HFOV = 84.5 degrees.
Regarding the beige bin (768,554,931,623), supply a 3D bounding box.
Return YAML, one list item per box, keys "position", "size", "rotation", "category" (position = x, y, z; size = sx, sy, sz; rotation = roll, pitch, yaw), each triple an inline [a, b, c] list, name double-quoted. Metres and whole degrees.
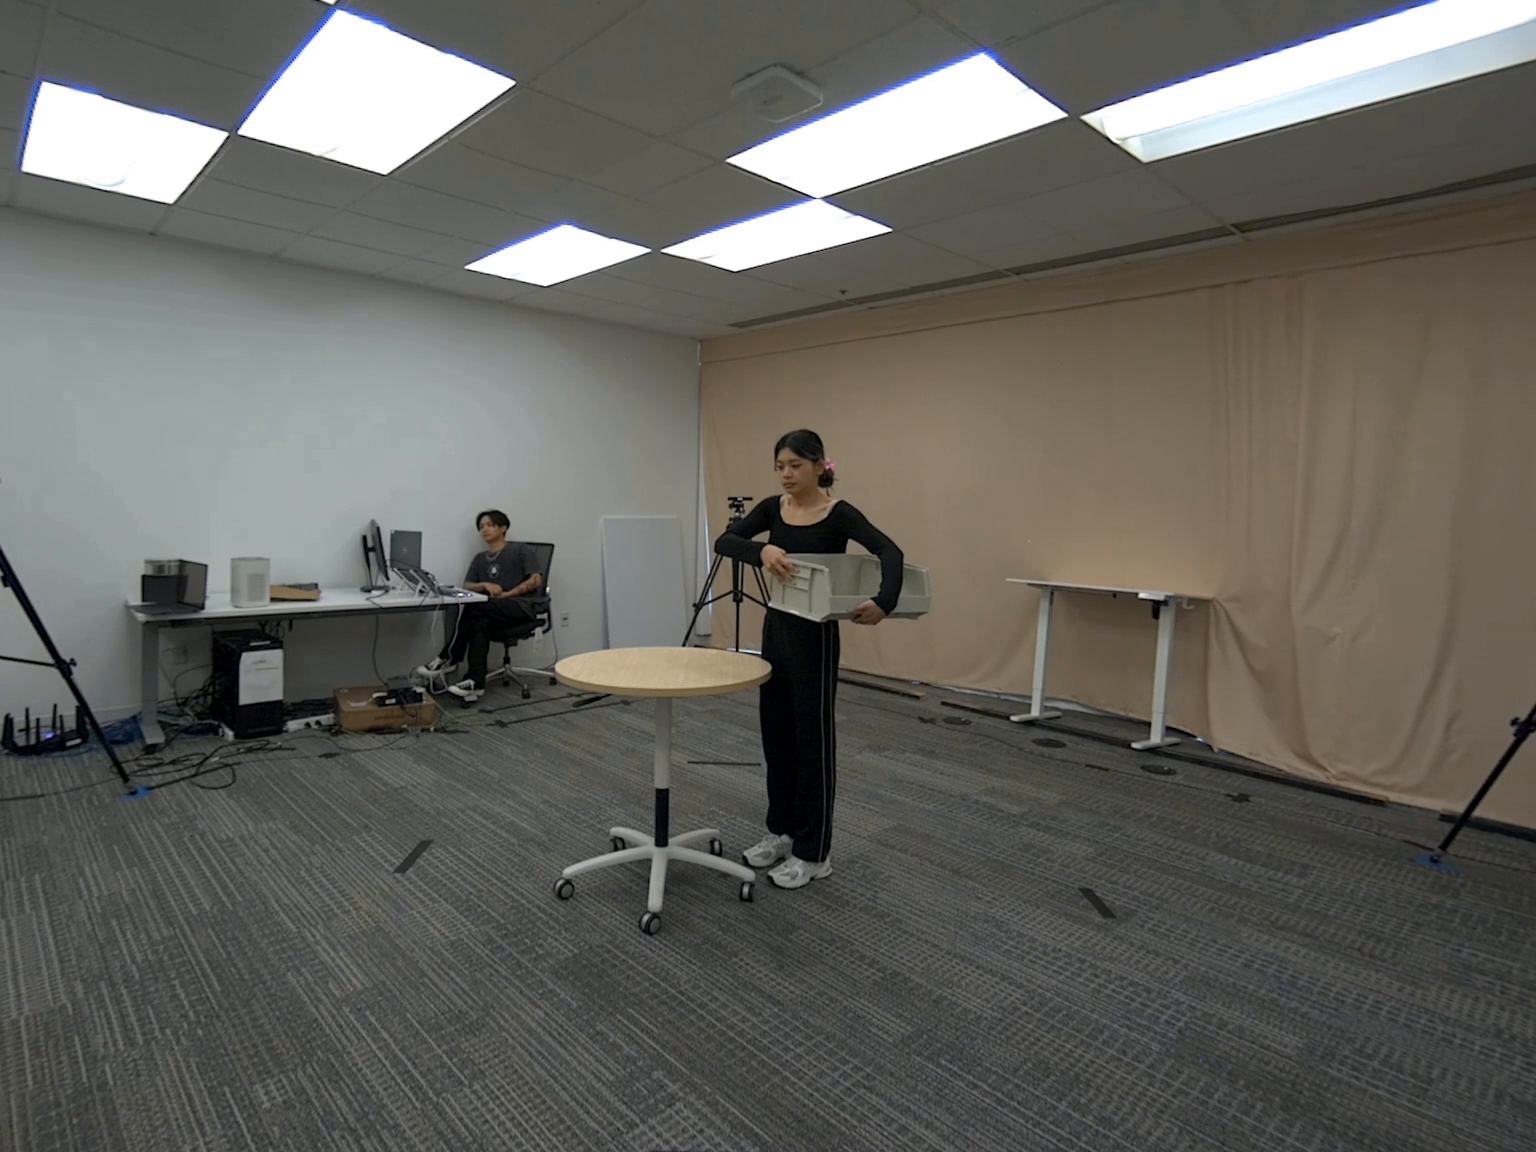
- position: [0.268, 0.043, 2.852]
  size: [0.414, 0.188, 0.386]
  rotation: [0, 7, -29]
  category: "beige bin"
